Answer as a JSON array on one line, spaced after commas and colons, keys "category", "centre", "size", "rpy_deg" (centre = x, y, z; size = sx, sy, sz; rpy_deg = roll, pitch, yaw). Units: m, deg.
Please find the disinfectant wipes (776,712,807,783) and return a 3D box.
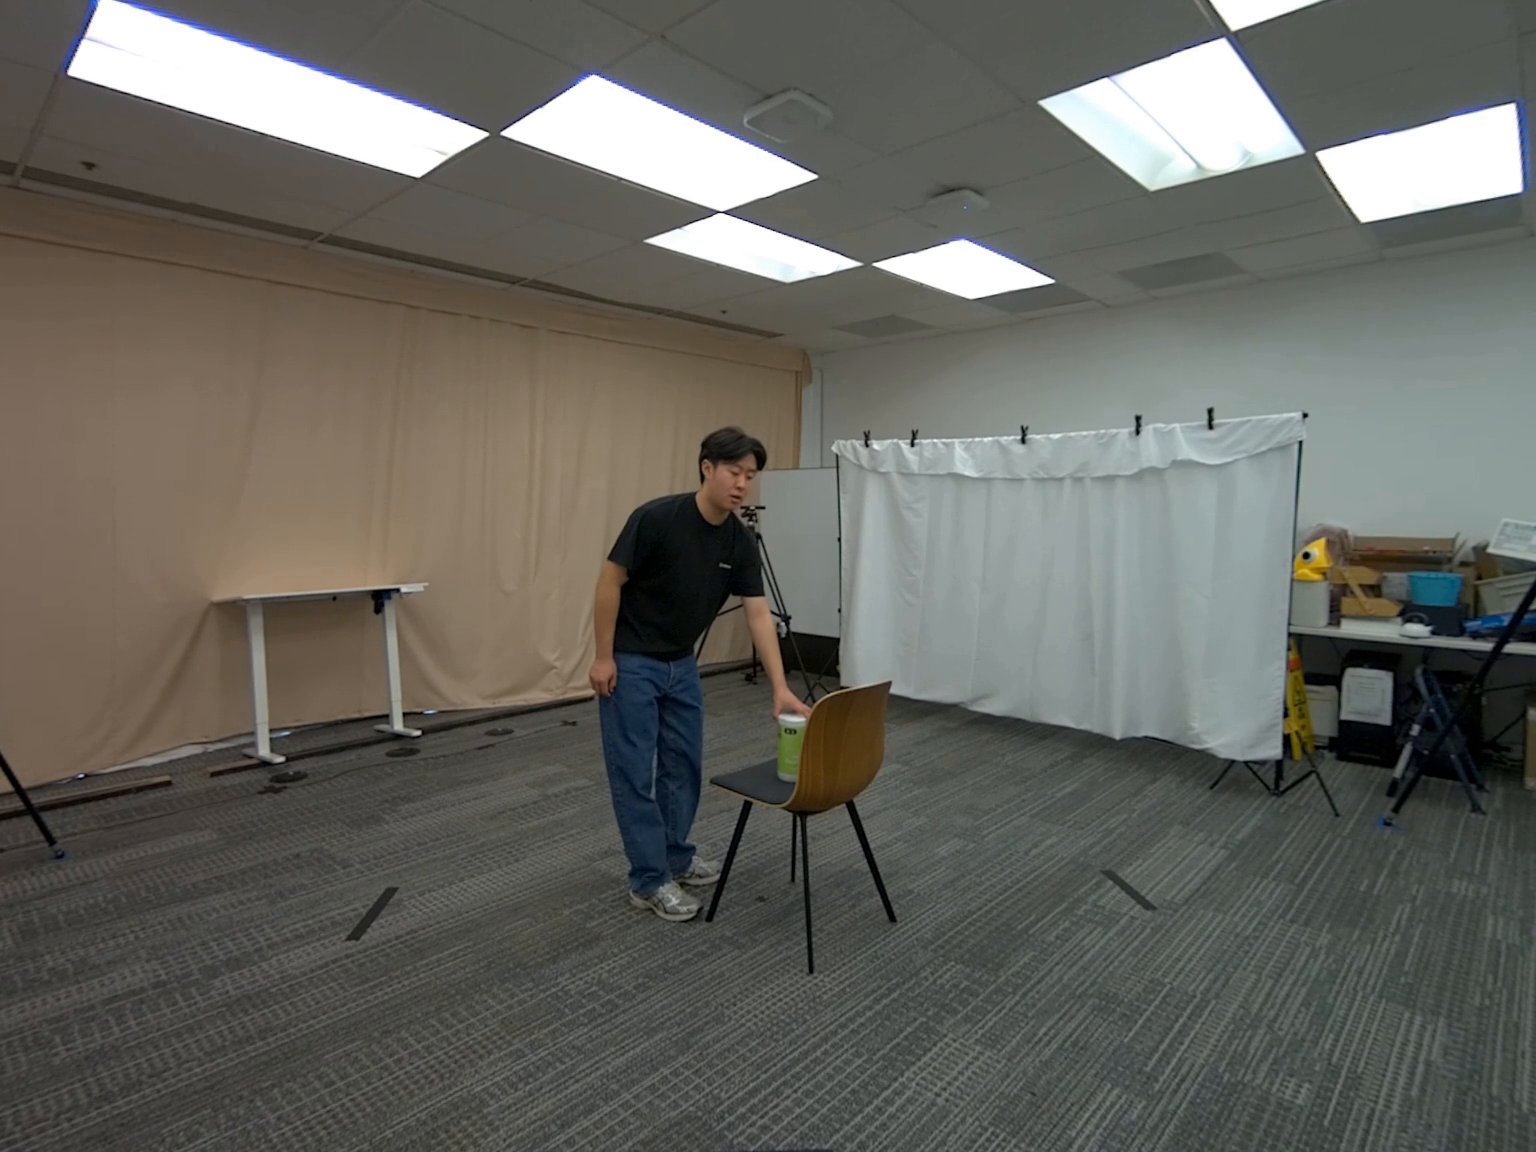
[{"category": "disinfectant wipes", "centre": [0.092, 0.574, 2.834], "size": [0.117, 0.217, 0.118], "rpy_deg": [2, 5, -2]}]
